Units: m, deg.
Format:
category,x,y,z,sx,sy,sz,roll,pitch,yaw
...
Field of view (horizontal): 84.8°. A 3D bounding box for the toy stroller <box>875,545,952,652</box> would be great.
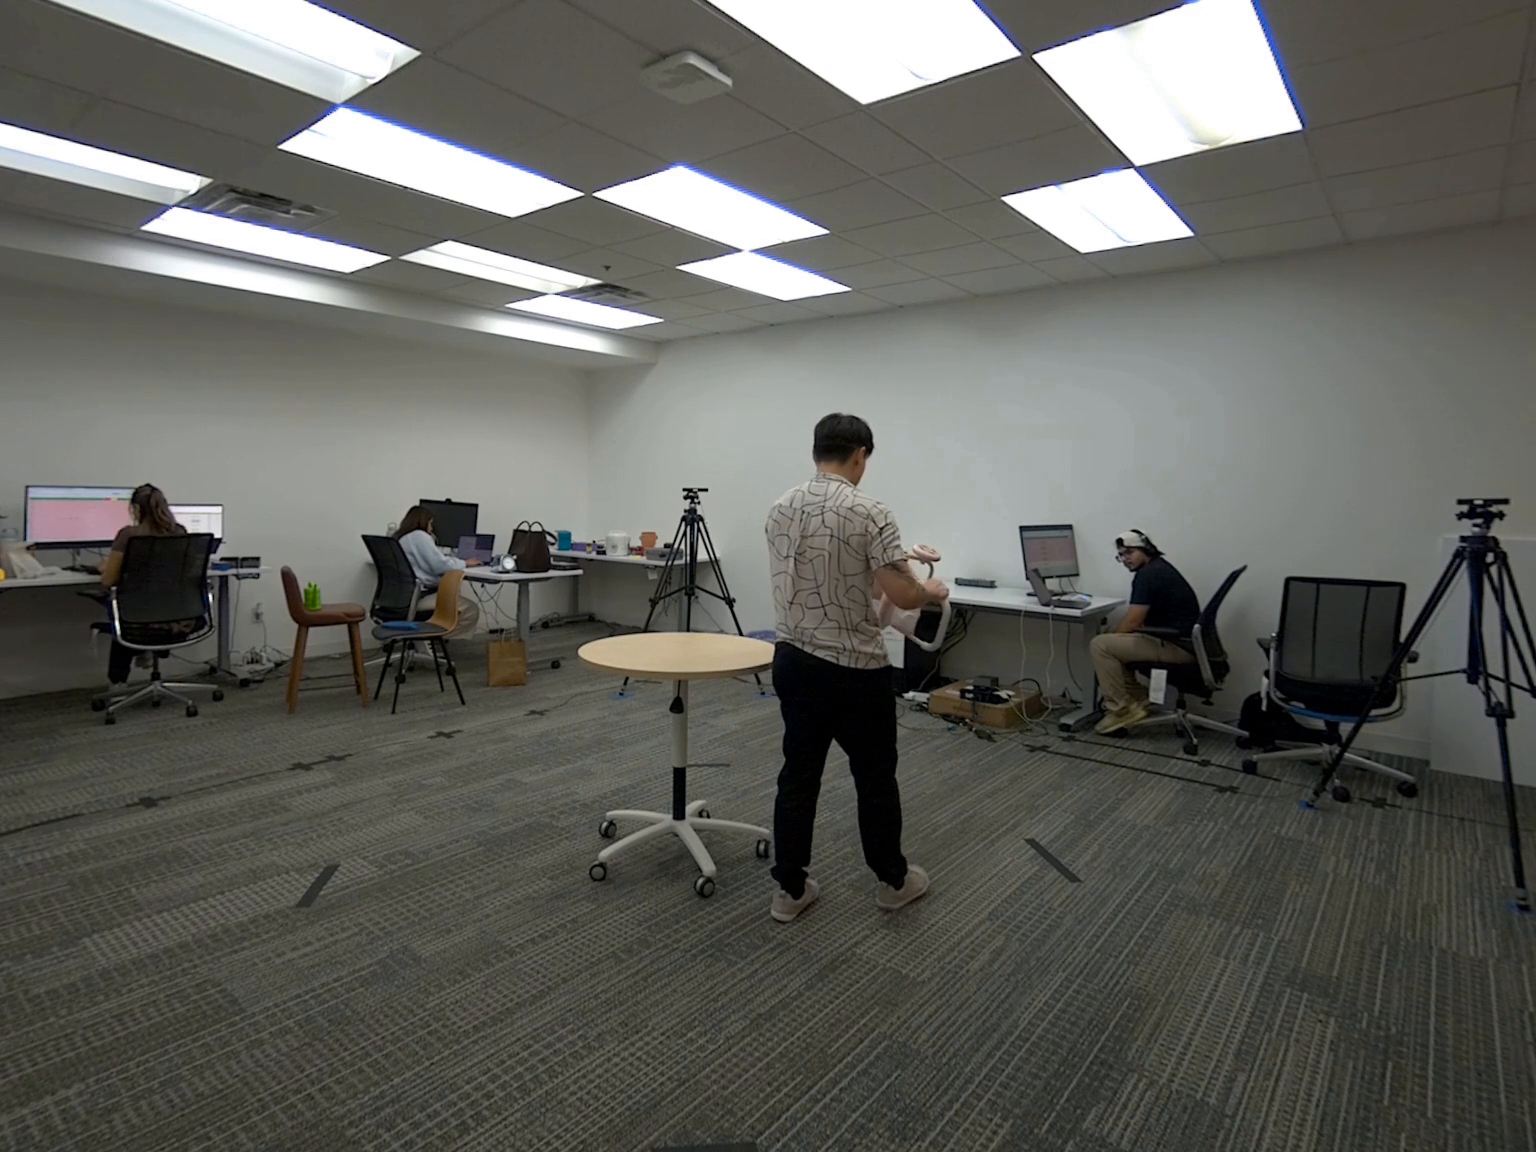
category,x,y,z,sx,sy,sz,roll,pitch,yaw
toy stroller,0.447,0.042,3.075,0.341,0.278,0.541,19,21,-1
